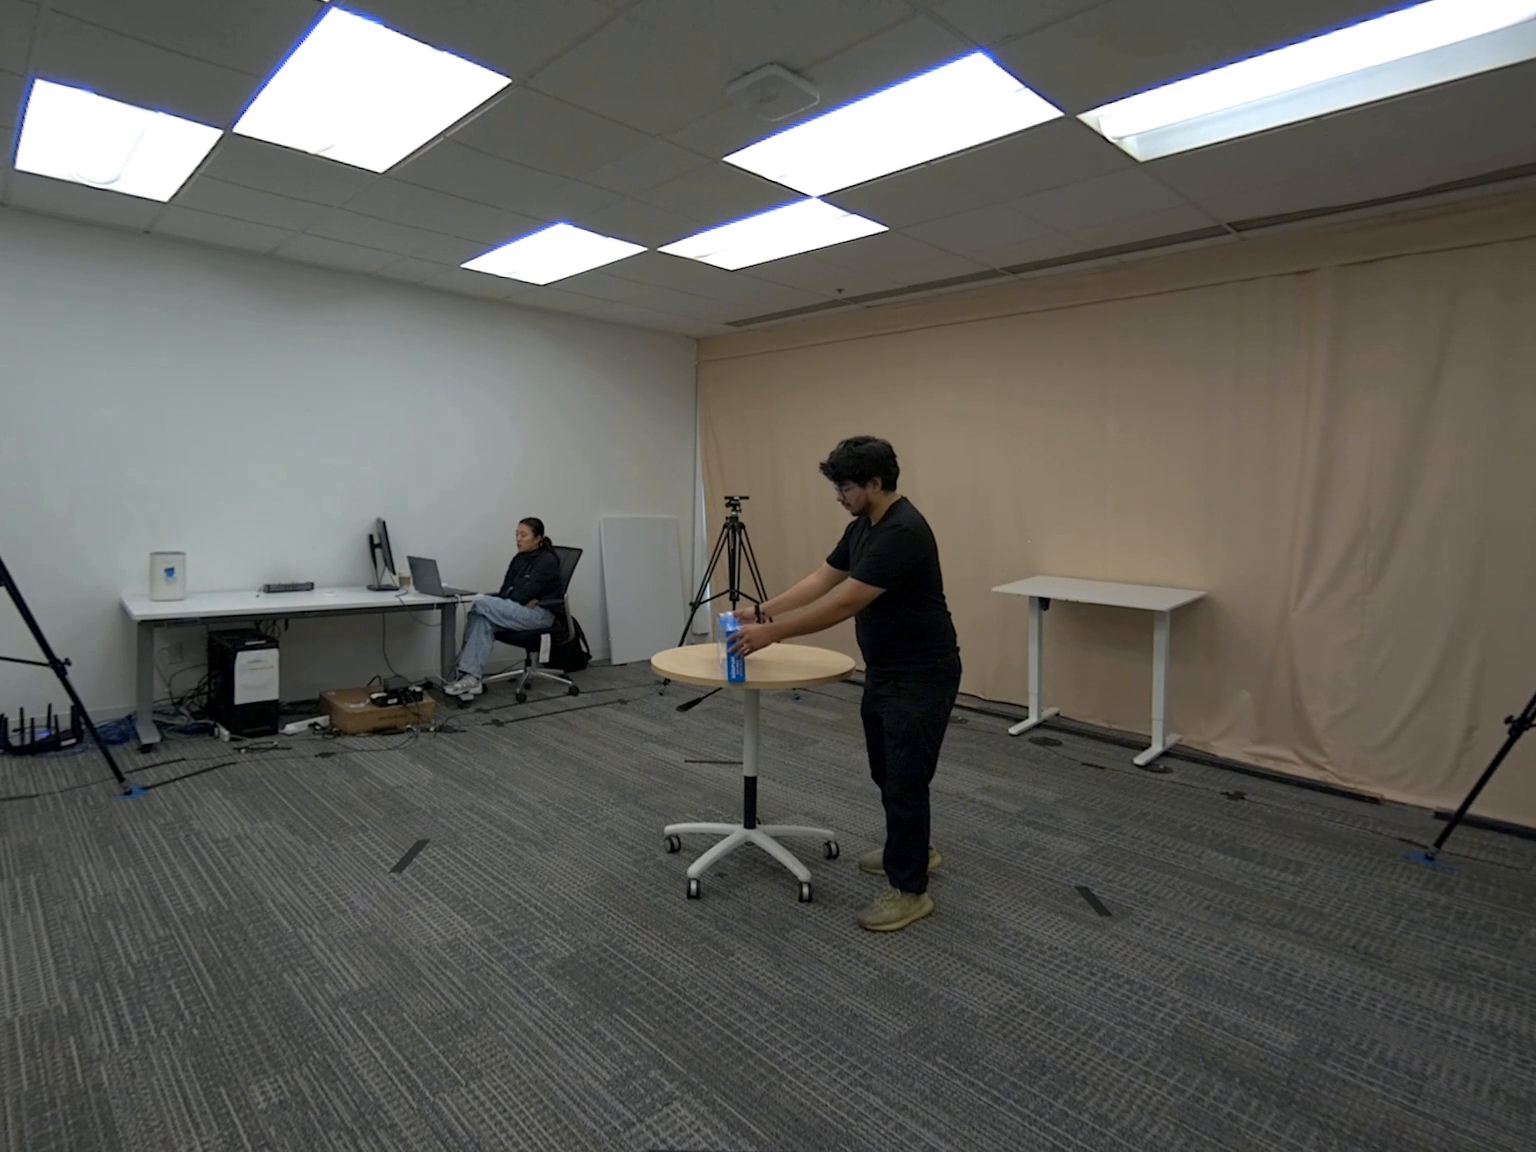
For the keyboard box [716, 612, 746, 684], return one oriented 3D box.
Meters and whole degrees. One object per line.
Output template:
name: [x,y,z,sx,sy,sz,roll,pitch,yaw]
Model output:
keyboard box: [-0.139,0.245,2.979,0.059,0.175,0.440,0,5,-8]
